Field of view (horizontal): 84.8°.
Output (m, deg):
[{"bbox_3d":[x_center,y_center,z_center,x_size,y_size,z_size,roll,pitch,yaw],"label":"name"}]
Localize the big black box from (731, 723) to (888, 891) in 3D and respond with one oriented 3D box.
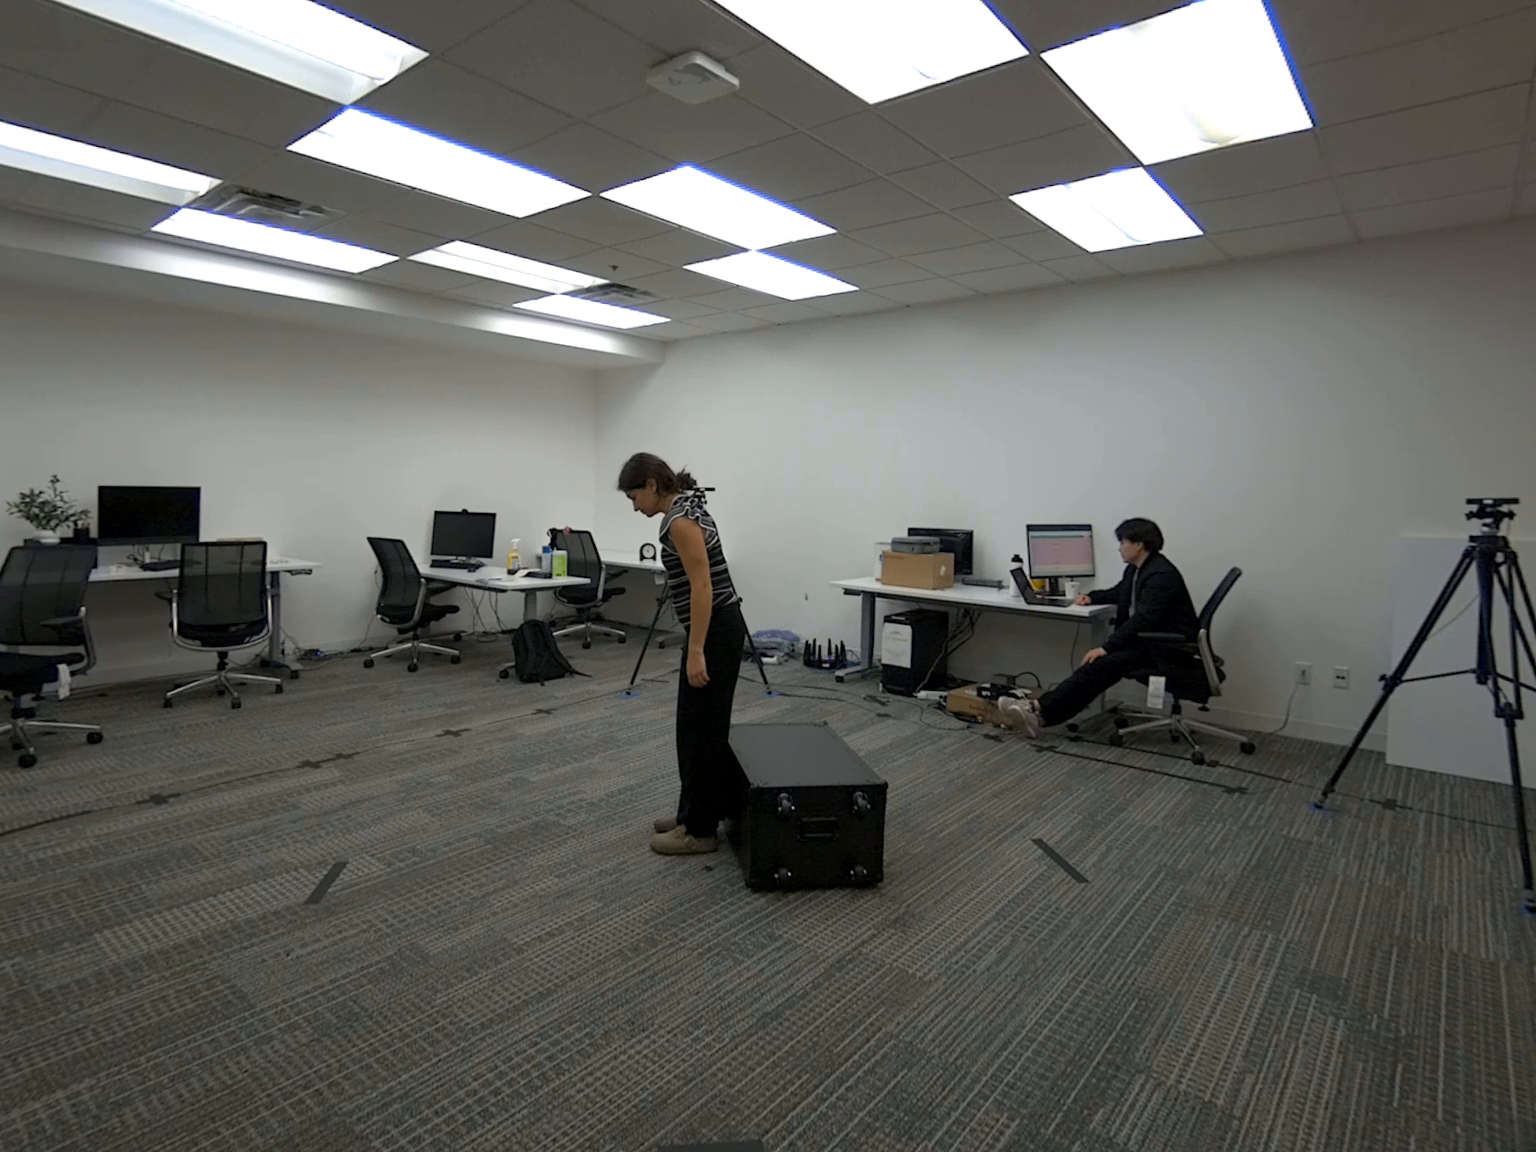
[{"bbox_3d":[0.090,0.863,3.285,0.515,0.395,0.875,0,5,-12],"label":"big black box"}]
